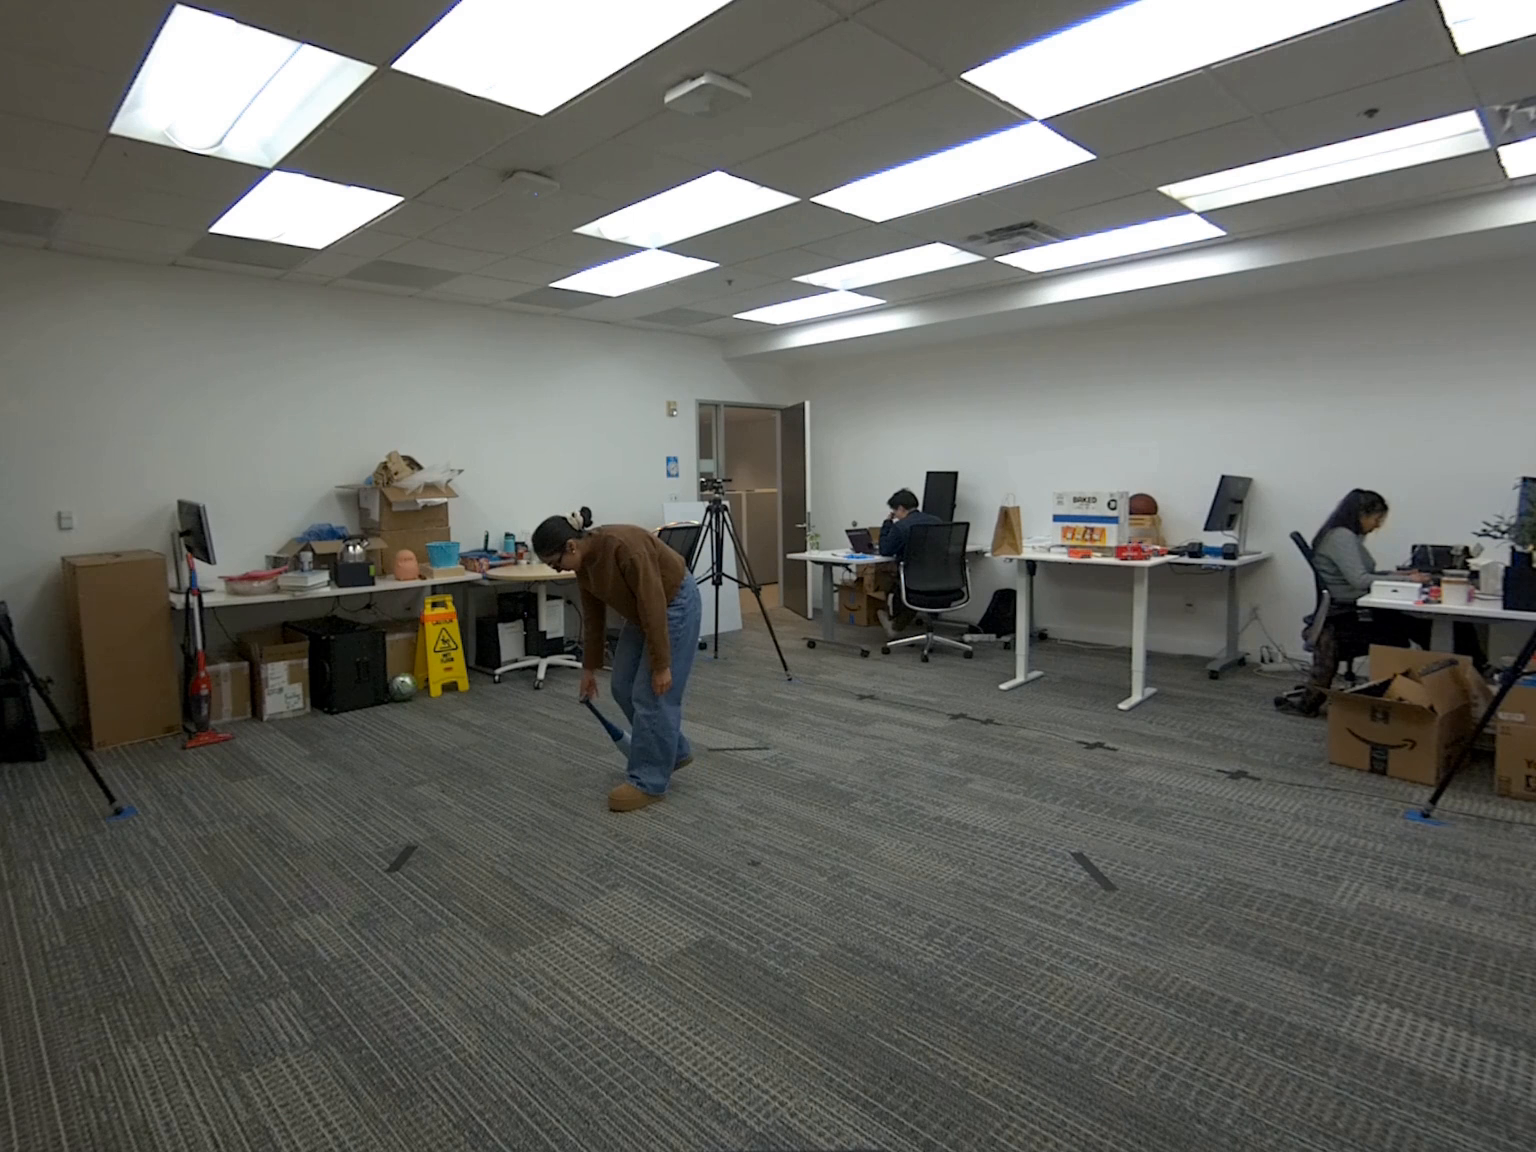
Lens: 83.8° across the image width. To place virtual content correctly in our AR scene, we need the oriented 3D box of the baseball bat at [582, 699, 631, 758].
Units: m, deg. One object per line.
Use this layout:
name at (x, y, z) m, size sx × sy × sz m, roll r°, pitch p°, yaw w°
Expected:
baseball bat at (-0.715, 0.741, 4.014) m, size 0.090 × 0.525 × 0.091 m, roll -27°, pitch 31°, yaw 16°
